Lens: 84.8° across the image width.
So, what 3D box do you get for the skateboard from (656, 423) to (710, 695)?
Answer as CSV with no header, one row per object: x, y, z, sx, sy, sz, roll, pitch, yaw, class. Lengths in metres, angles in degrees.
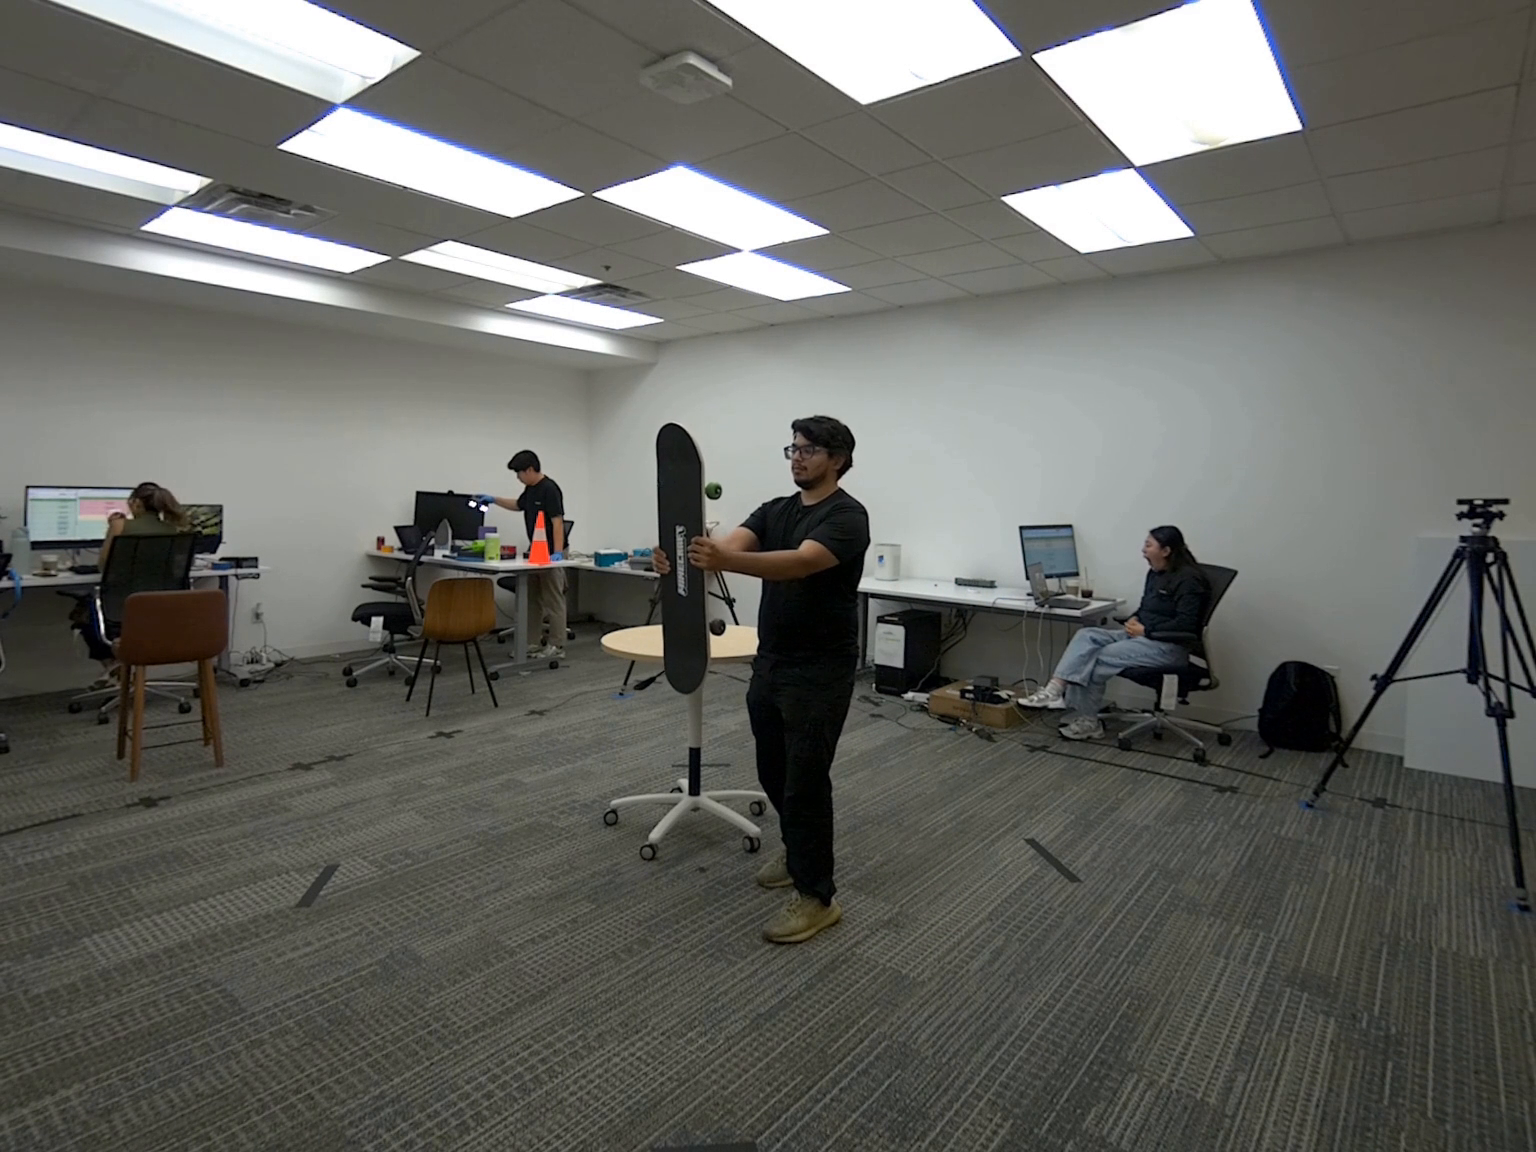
-0.233,-0.048,2.476,0.200,0.778,0.107,7,12,43,skateboard
